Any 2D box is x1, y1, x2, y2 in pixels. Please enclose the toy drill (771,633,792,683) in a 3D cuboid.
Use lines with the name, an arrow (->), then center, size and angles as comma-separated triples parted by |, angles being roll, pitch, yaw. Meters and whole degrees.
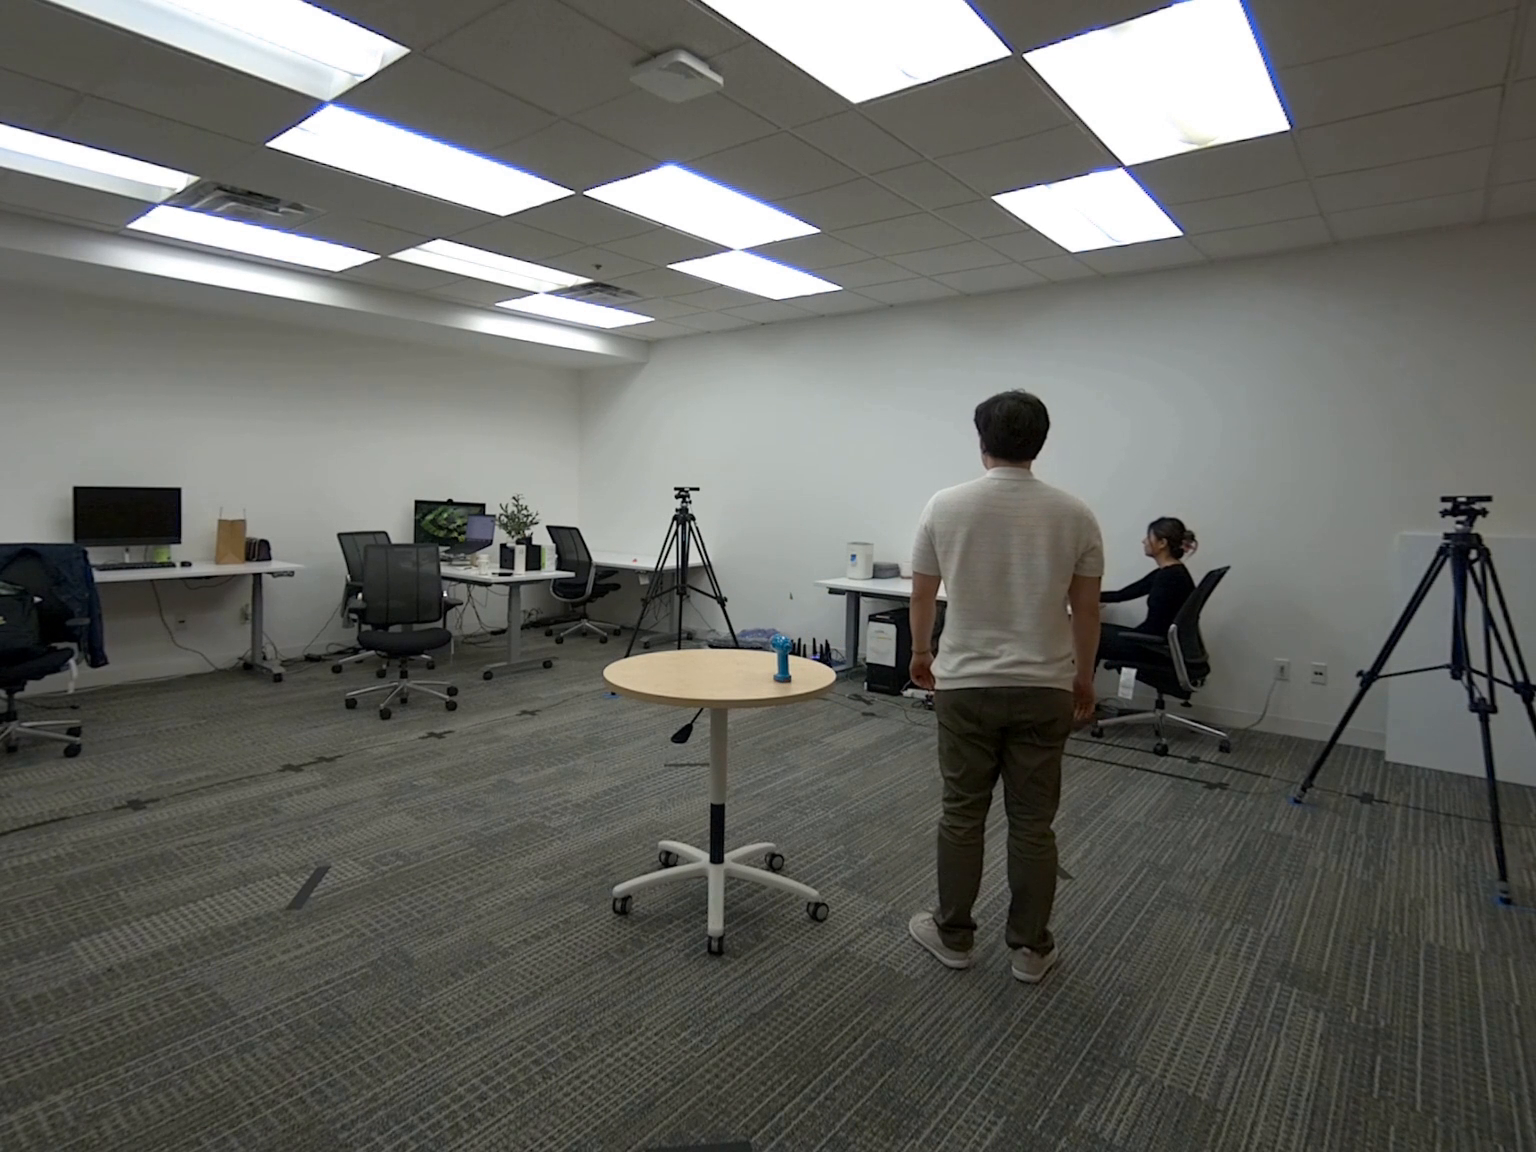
toy drill -> 0.031, 0.253, 2.715 | 0.060, 0.145, 0.173 | -2, 6, -18
